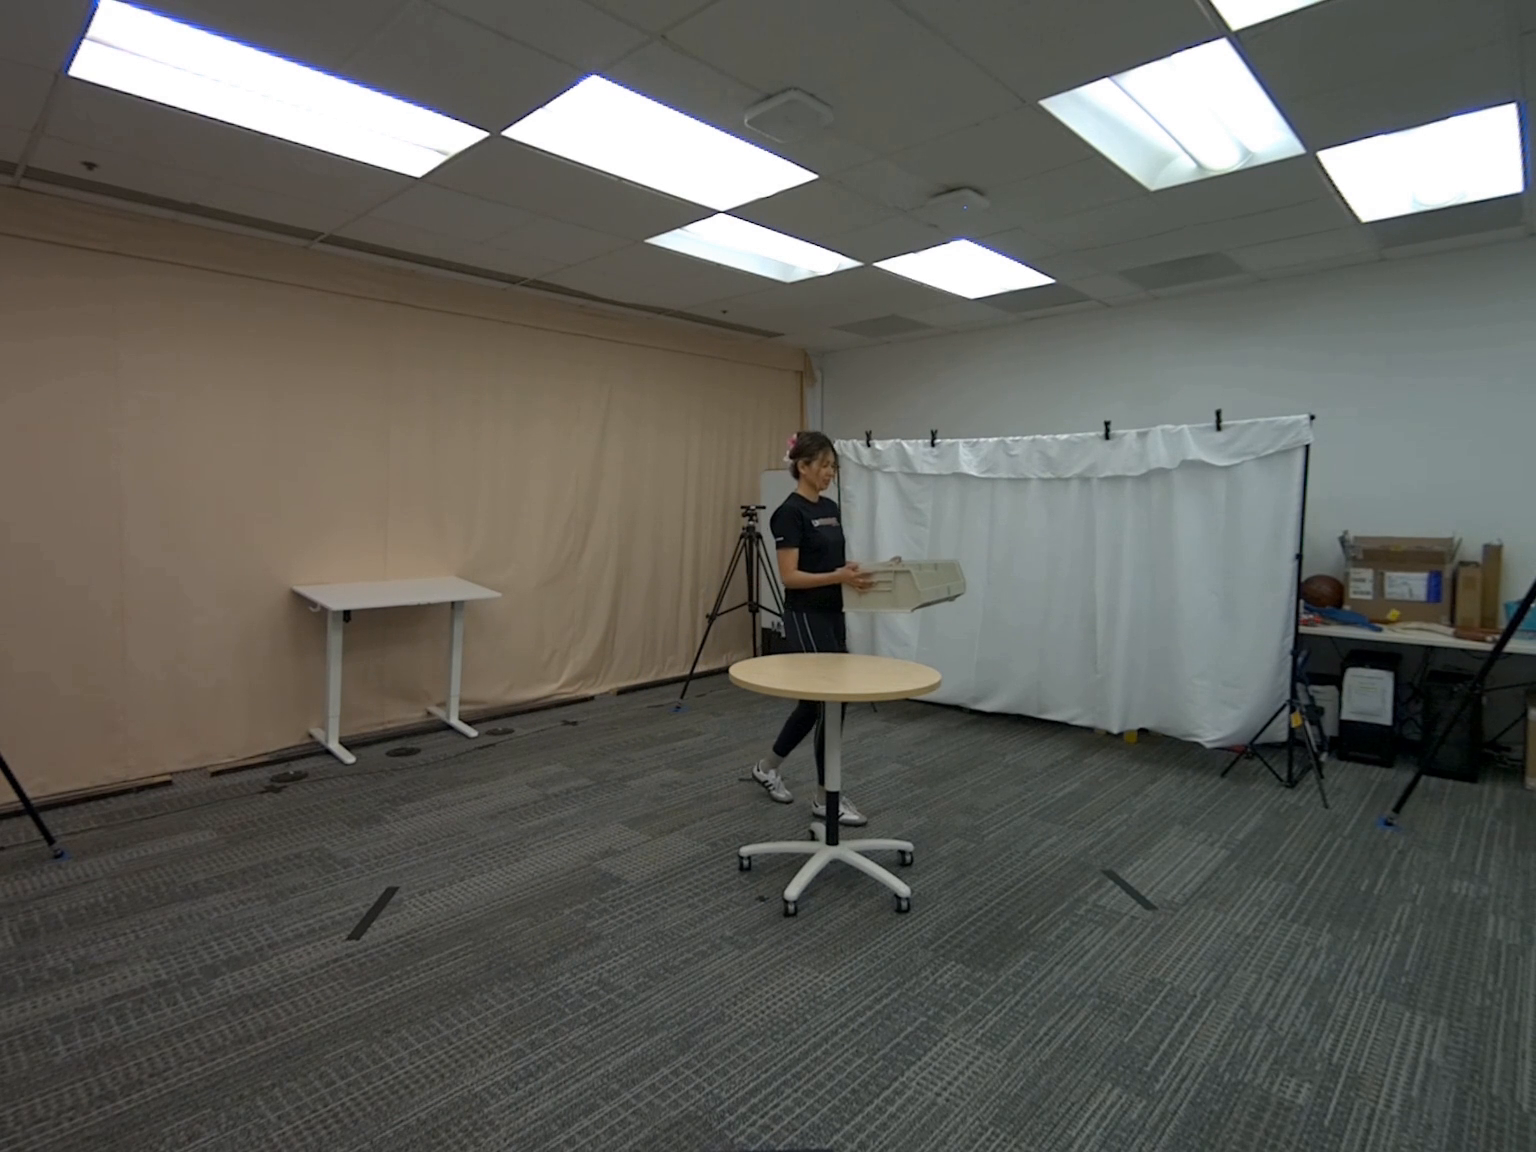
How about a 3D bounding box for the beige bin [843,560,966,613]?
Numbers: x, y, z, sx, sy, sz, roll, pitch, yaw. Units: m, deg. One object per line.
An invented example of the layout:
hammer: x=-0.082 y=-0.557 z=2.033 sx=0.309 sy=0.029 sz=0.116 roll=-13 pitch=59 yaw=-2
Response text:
beige bin: x=0.572 y=0.042 z=3.530 sx=0.389 sy=0.189 sz=0.410 roll=-3 pitch=4 yaw=40
